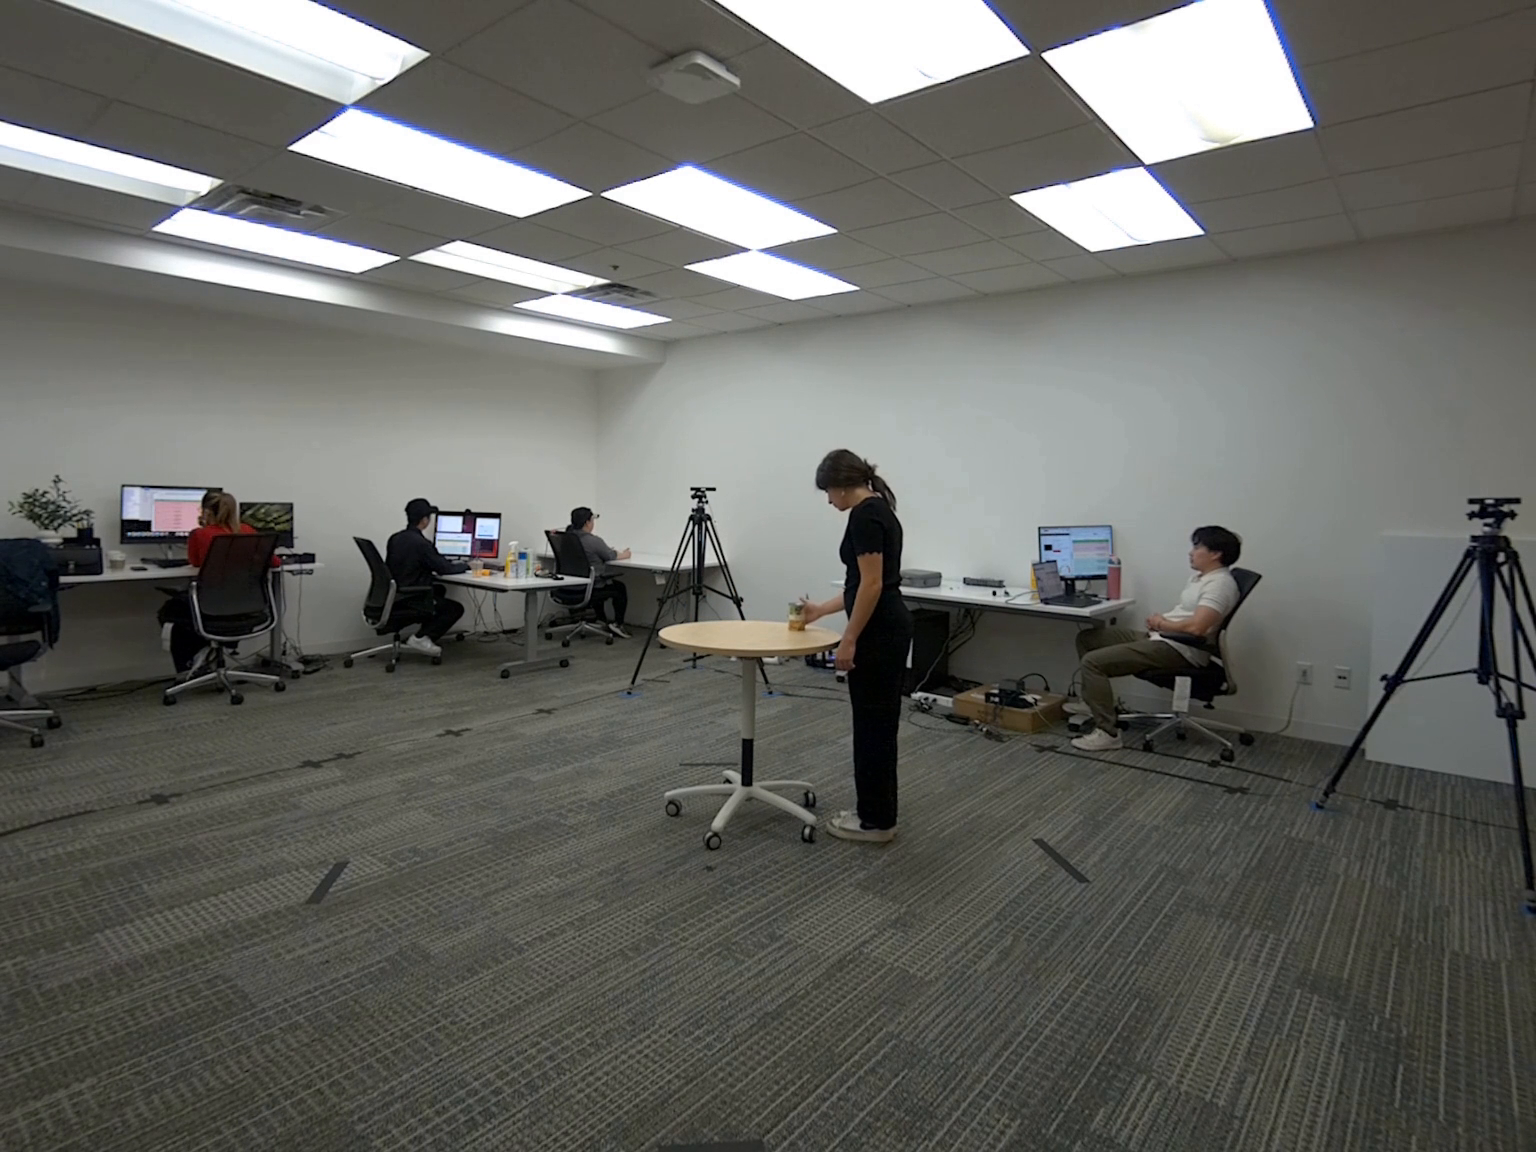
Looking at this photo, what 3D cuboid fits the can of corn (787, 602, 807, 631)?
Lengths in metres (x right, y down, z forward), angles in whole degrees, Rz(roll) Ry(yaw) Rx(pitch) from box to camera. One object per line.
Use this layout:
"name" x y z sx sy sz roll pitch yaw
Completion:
"can of corn" 0.115 0.174 3.720 0.074 0.111 0.074 3 2 -2
